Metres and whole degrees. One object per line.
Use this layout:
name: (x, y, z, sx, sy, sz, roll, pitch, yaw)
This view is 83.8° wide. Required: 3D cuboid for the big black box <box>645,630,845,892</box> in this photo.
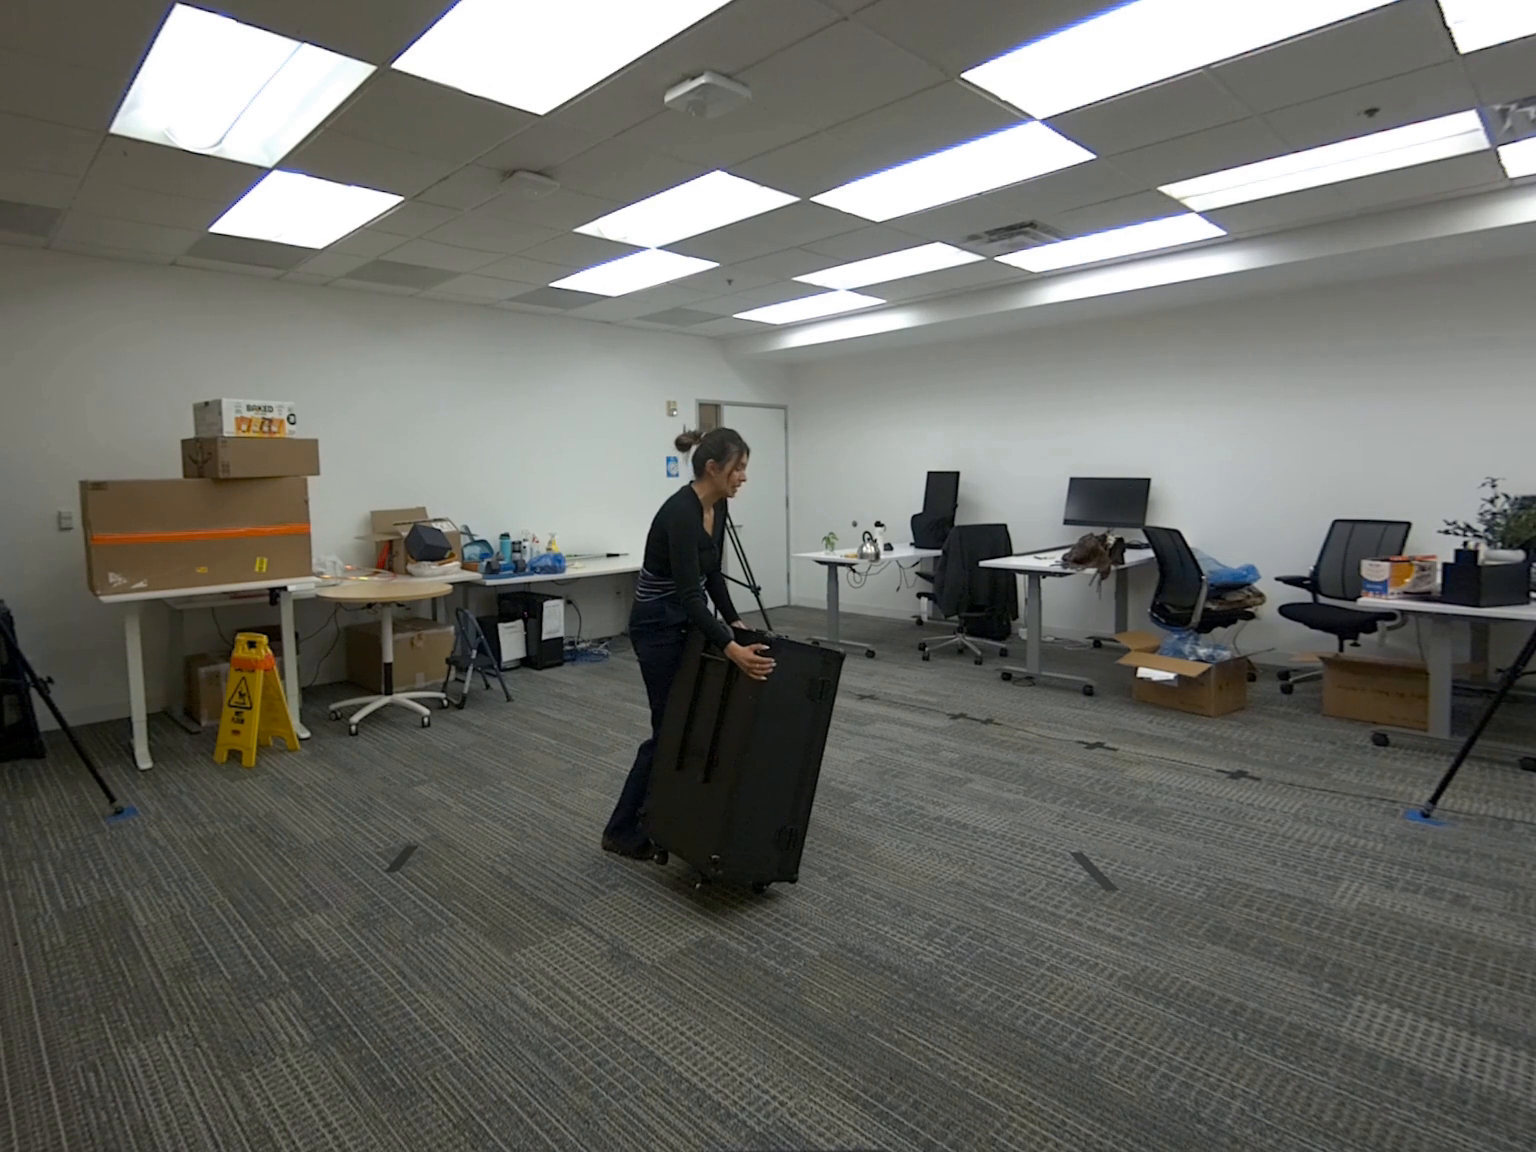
big black box: (-0.071, 0.569, 2.982, 0.384, 0.865, 0.536, 16, -6, -33)
